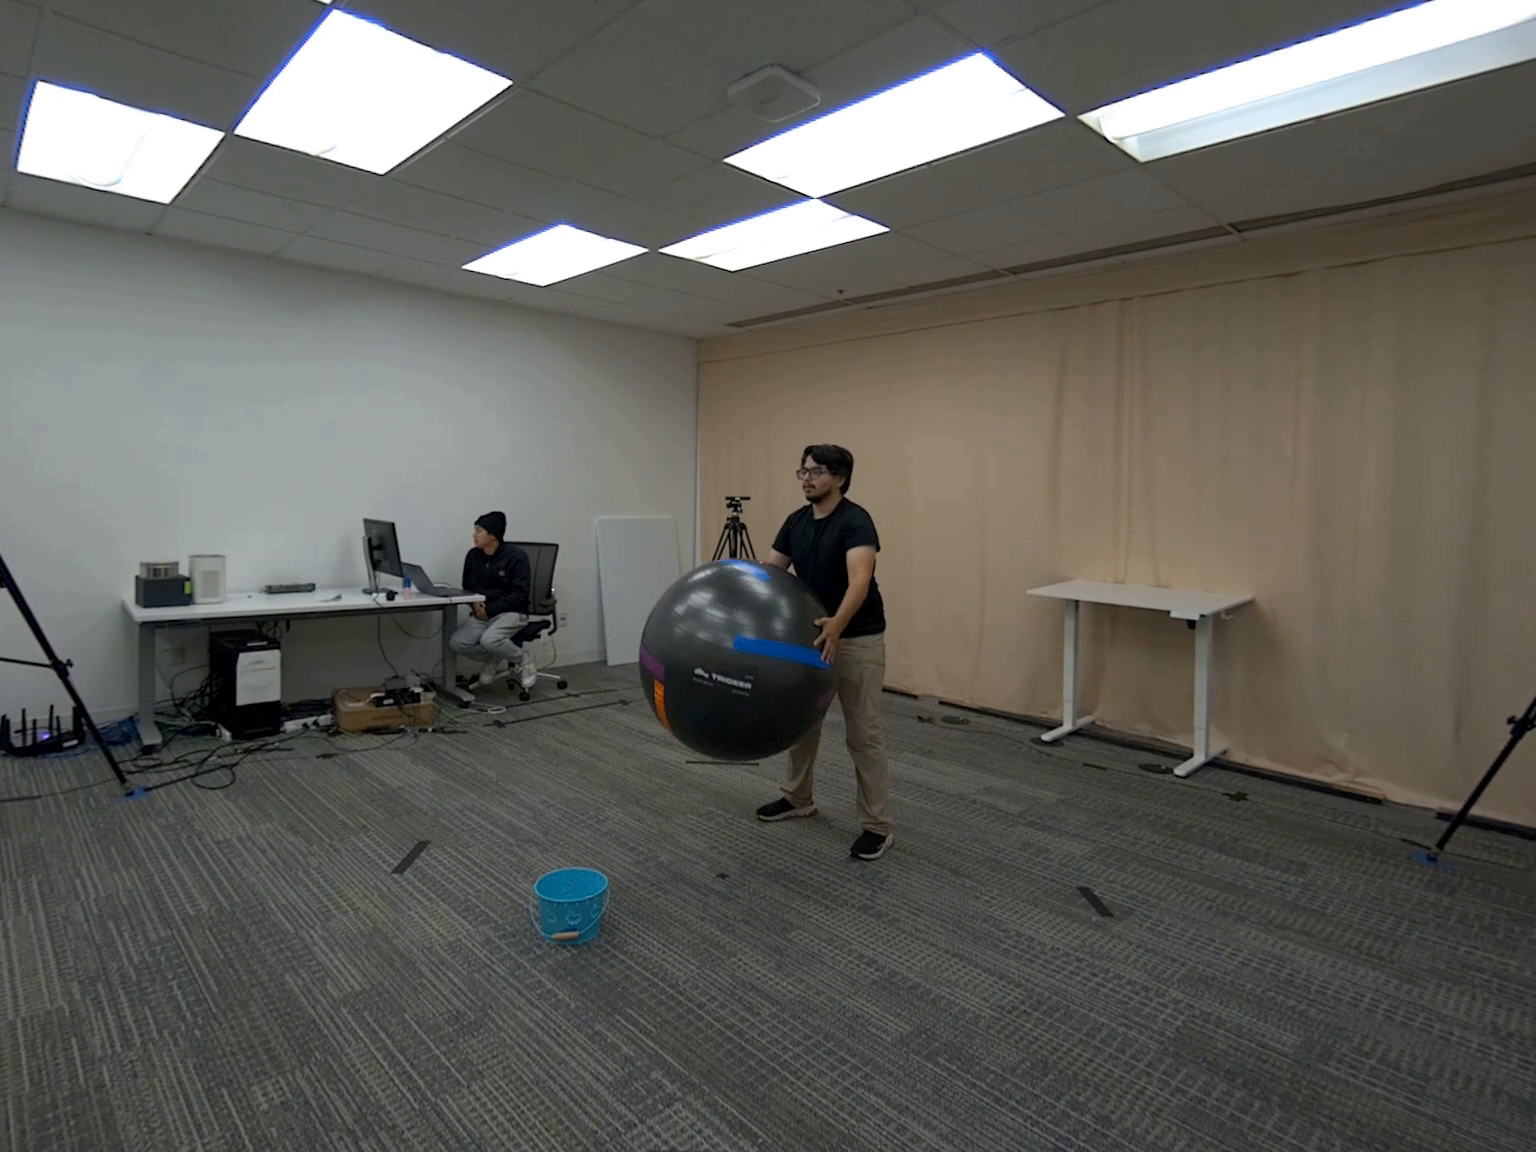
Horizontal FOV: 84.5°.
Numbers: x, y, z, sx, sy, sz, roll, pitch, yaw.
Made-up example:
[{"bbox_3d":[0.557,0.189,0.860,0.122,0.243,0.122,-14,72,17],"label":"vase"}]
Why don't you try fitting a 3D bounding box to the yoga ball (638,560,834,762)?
[{"bbox_3d":[-0.111,0.312,3.187,0.757,0.756,0.760,1,4,-1],"label":"yoga ball"}]
